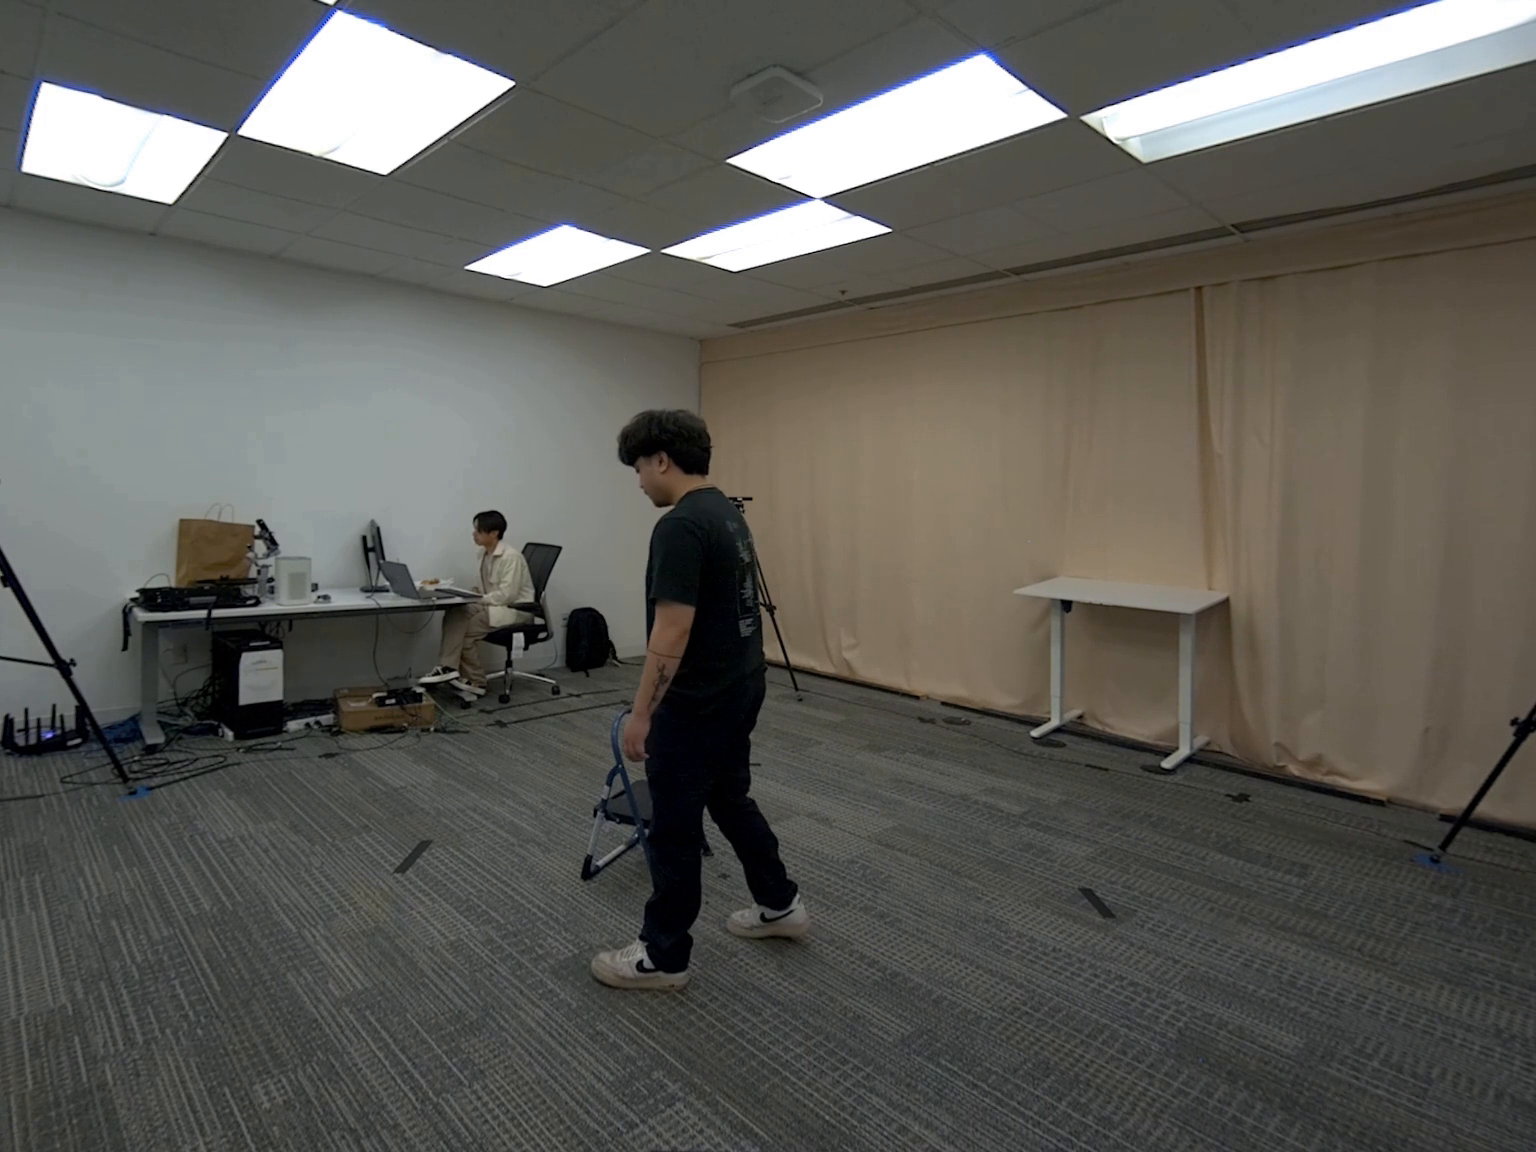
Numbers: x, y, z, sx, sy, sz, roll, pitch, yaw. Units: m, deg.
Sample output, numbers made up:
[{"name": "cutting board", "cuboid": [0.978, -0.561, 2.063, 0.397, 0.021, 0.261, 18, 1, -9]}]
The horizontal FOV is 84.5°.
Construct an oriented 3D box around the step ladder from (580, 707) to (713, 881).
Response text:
[{"name": "step ladder", "cuboid": [-0.446, 0.795, 3.152, 0.355, 0.605, 0.424, 3, 3, 20]}]
